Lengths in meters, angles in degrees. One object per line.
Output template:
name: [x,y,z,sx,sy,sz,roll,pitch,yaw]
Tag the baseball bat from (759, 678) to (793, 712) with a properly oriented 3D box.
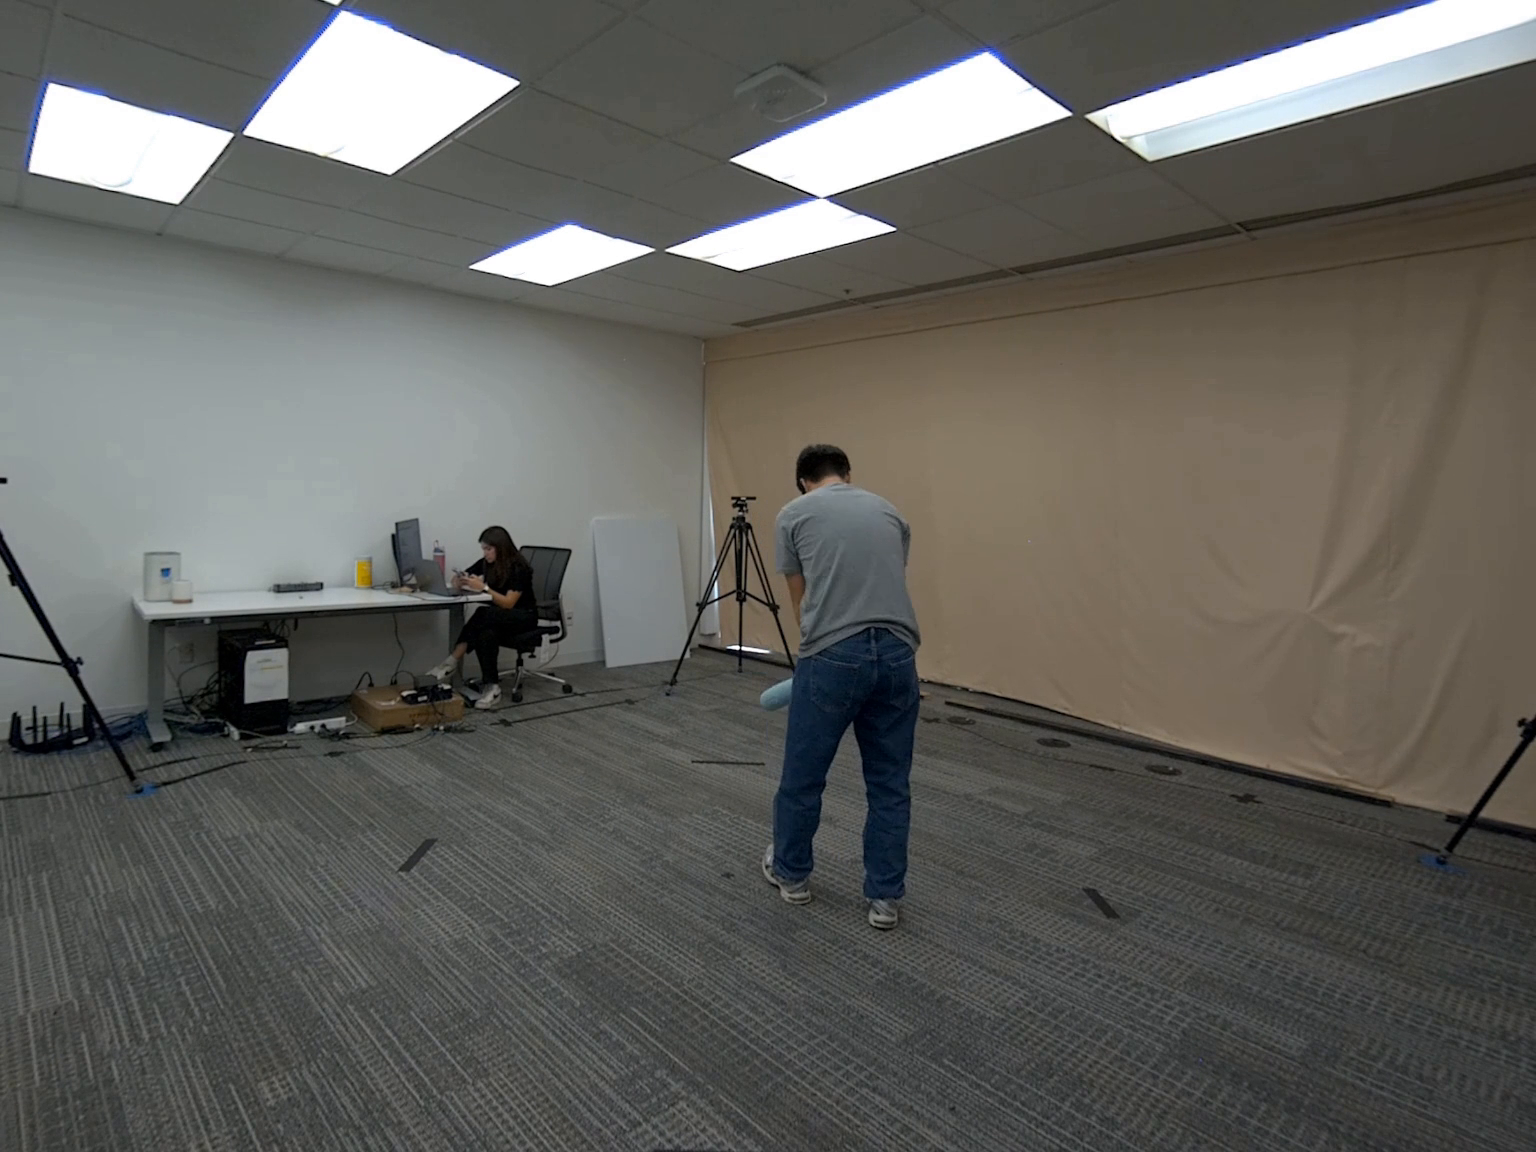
baseball bat: [0.159,0.409,3.192,0.087,0.090,0.546,-1,-19,-34]
